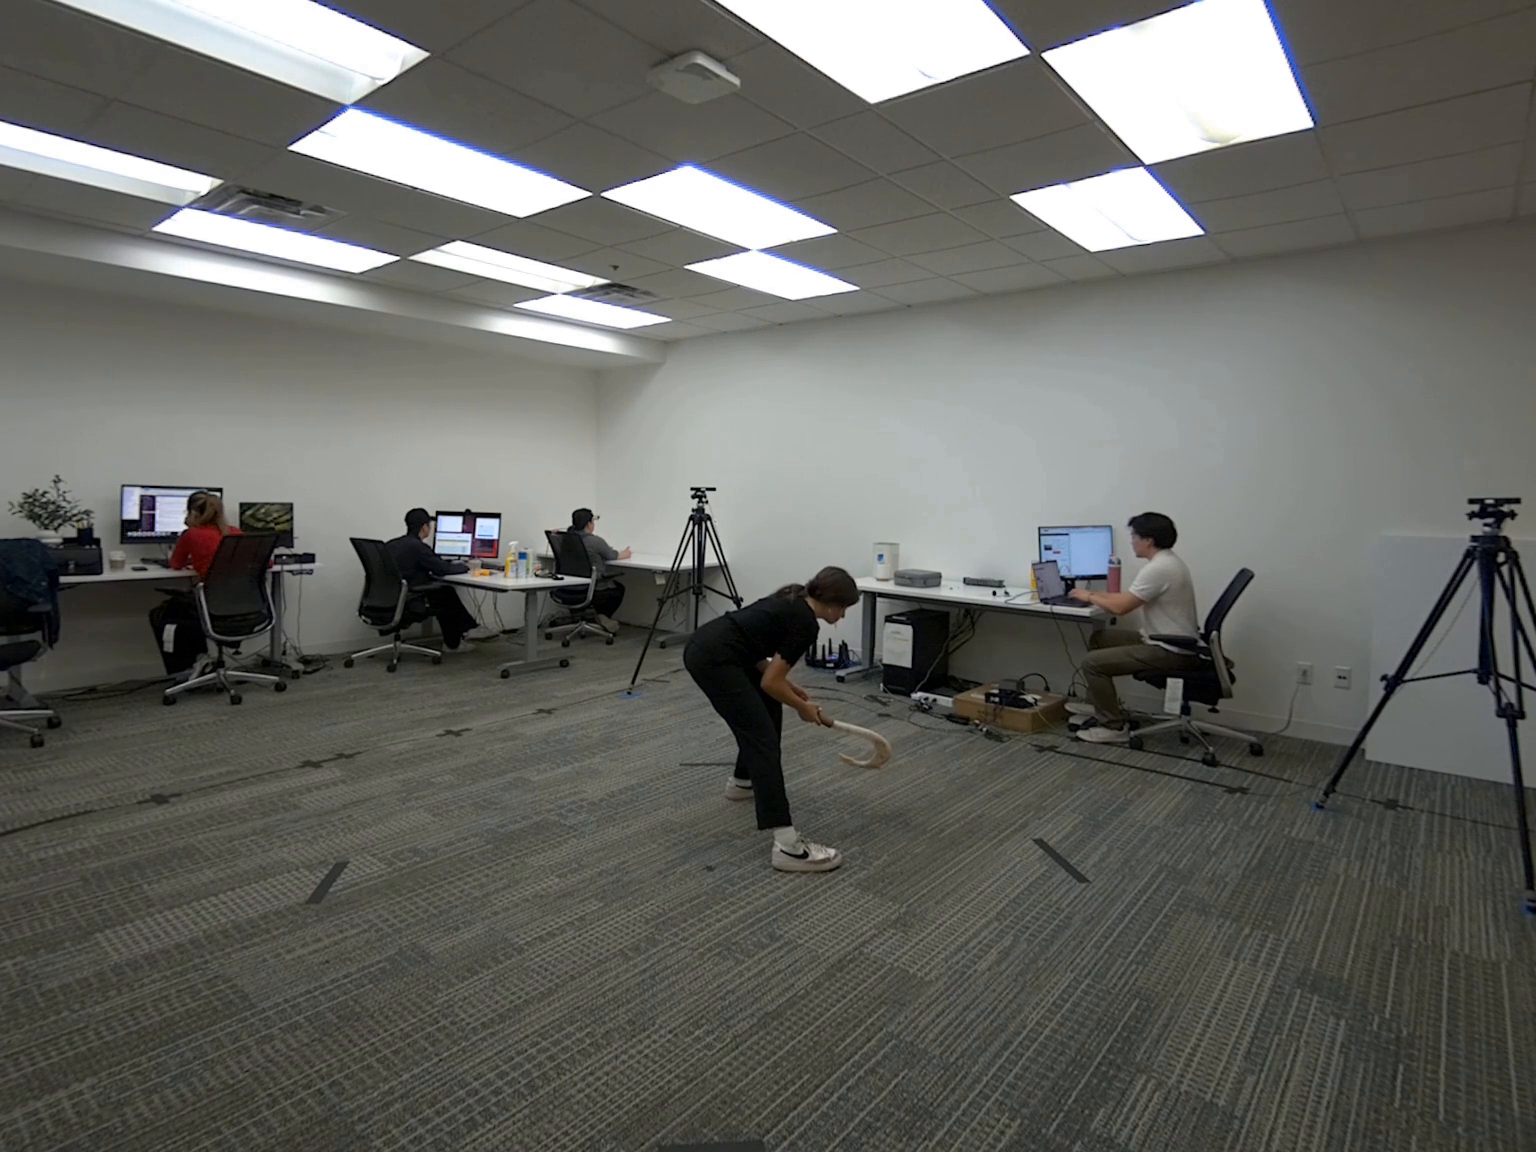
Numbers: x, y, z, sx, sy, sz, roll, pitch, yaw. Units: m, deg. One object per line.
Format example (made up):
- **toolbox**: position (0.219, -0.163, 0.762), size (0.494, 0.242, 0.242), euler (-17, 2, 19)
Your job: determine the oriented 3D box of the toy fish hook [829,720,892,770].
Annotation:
- **toy fish hook**: position (0.296, 0.711, 3.772), size (0.504, 0.223, 0.049), euler (30, 24, -3)
